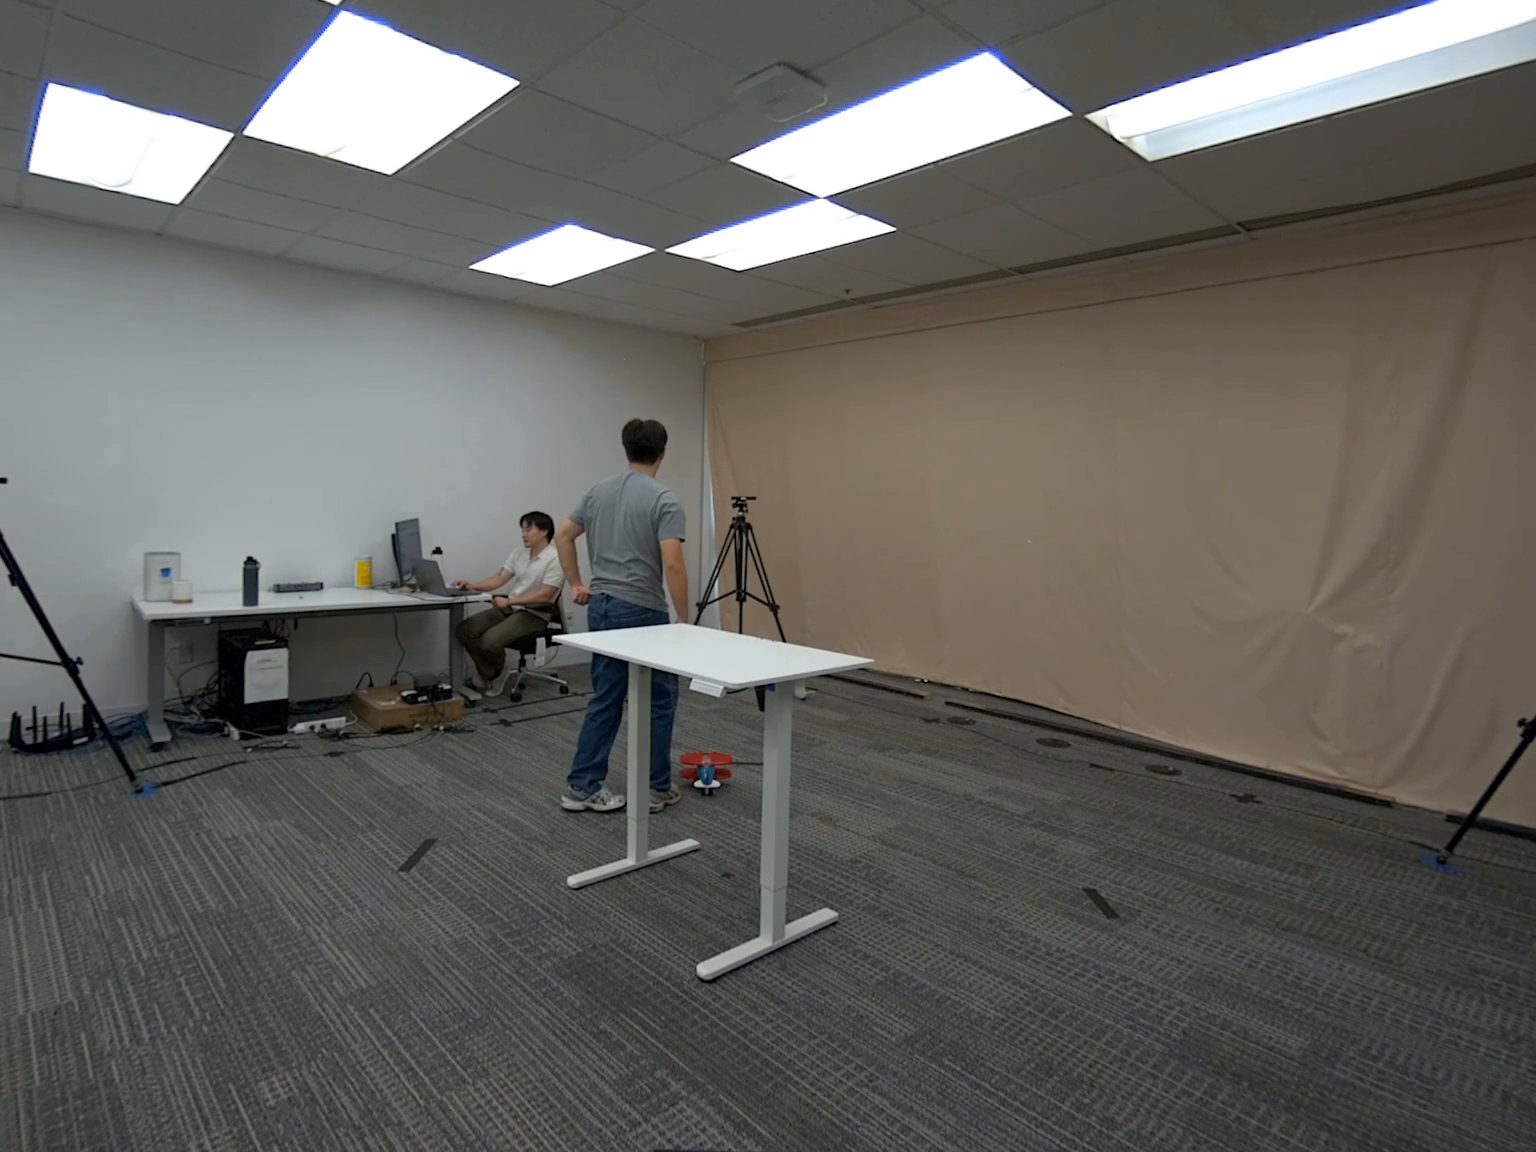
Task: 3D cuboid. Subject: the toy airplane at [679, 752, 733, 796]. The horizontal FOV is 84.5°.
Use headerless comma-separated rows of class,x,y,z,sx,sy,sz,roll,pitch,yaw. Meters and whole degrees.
toy airplane,-0.291,0.944,4.040,0.246,0.156,0.265,-2,4,-34
